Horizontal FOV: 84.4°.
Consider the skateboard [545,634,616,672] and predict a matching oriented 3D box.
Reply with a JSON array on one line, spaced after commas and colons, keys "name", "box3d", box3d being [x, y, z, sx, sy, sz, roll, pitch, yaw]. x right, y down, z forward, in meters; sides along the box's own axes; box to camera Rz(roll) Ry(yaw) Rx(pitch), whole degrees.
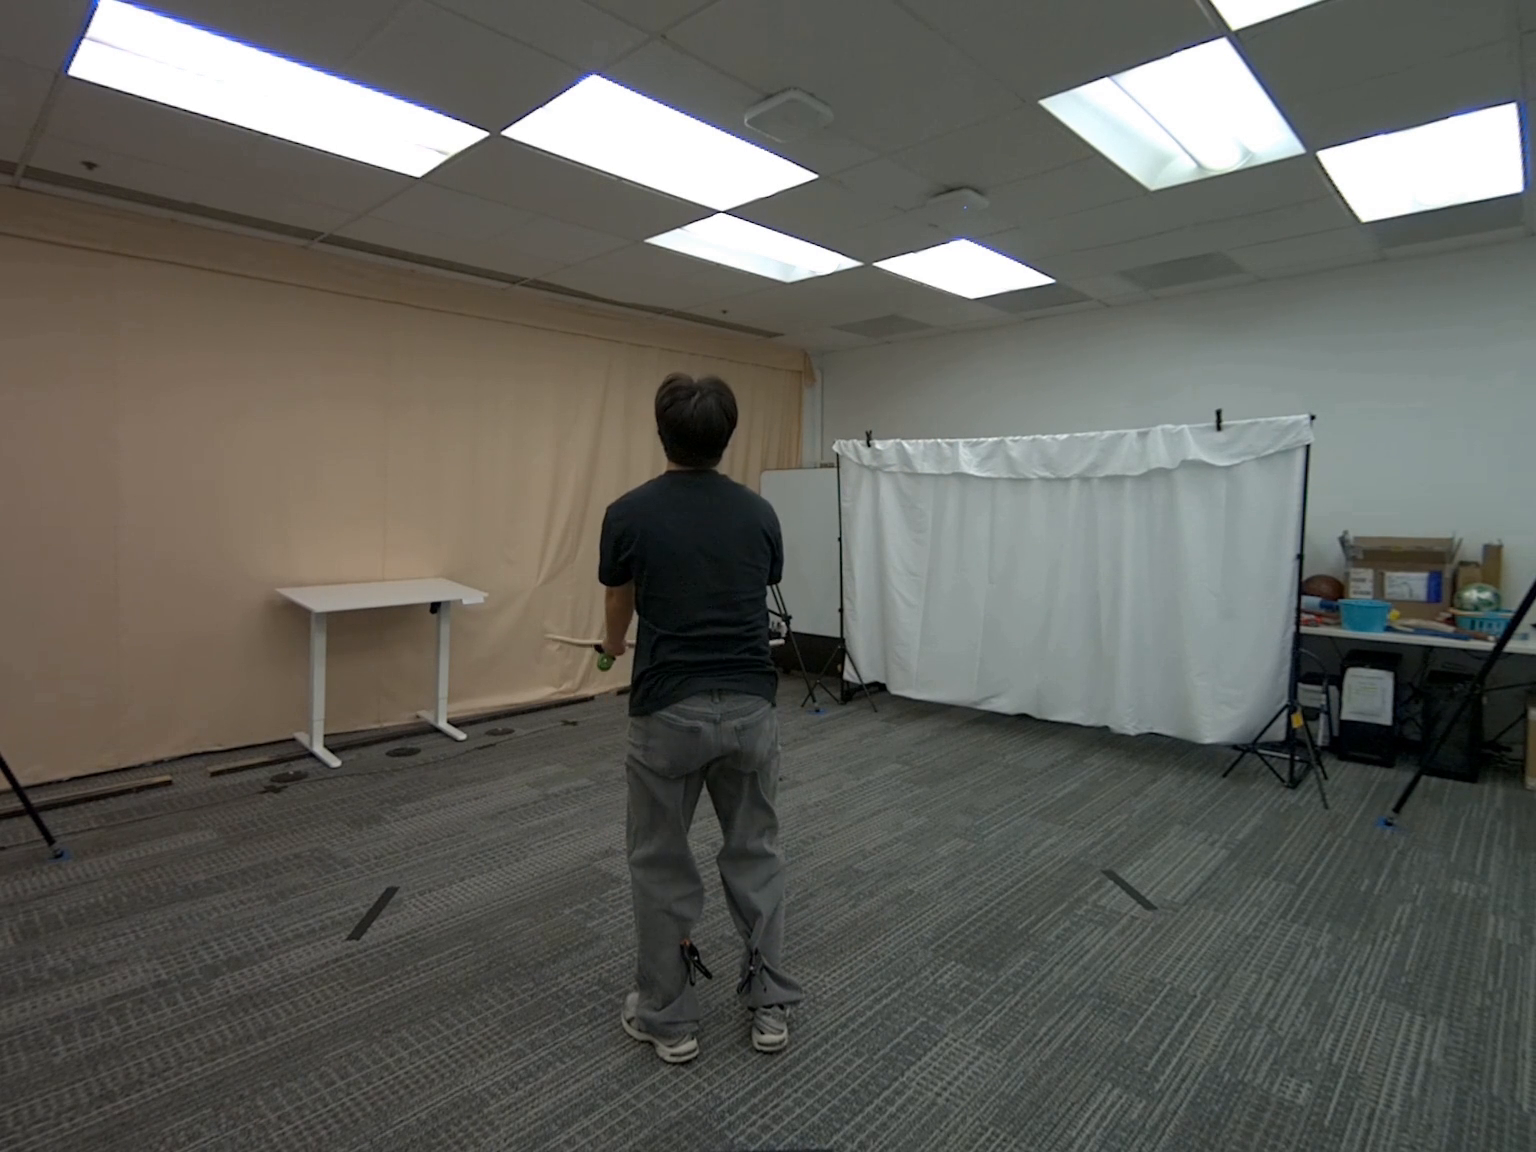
[{"name": "skateboard", "box3d": [-0.329, 0.276, 2.759, 0.780, 0.111, 0.194, 2, -8, -6]}]
